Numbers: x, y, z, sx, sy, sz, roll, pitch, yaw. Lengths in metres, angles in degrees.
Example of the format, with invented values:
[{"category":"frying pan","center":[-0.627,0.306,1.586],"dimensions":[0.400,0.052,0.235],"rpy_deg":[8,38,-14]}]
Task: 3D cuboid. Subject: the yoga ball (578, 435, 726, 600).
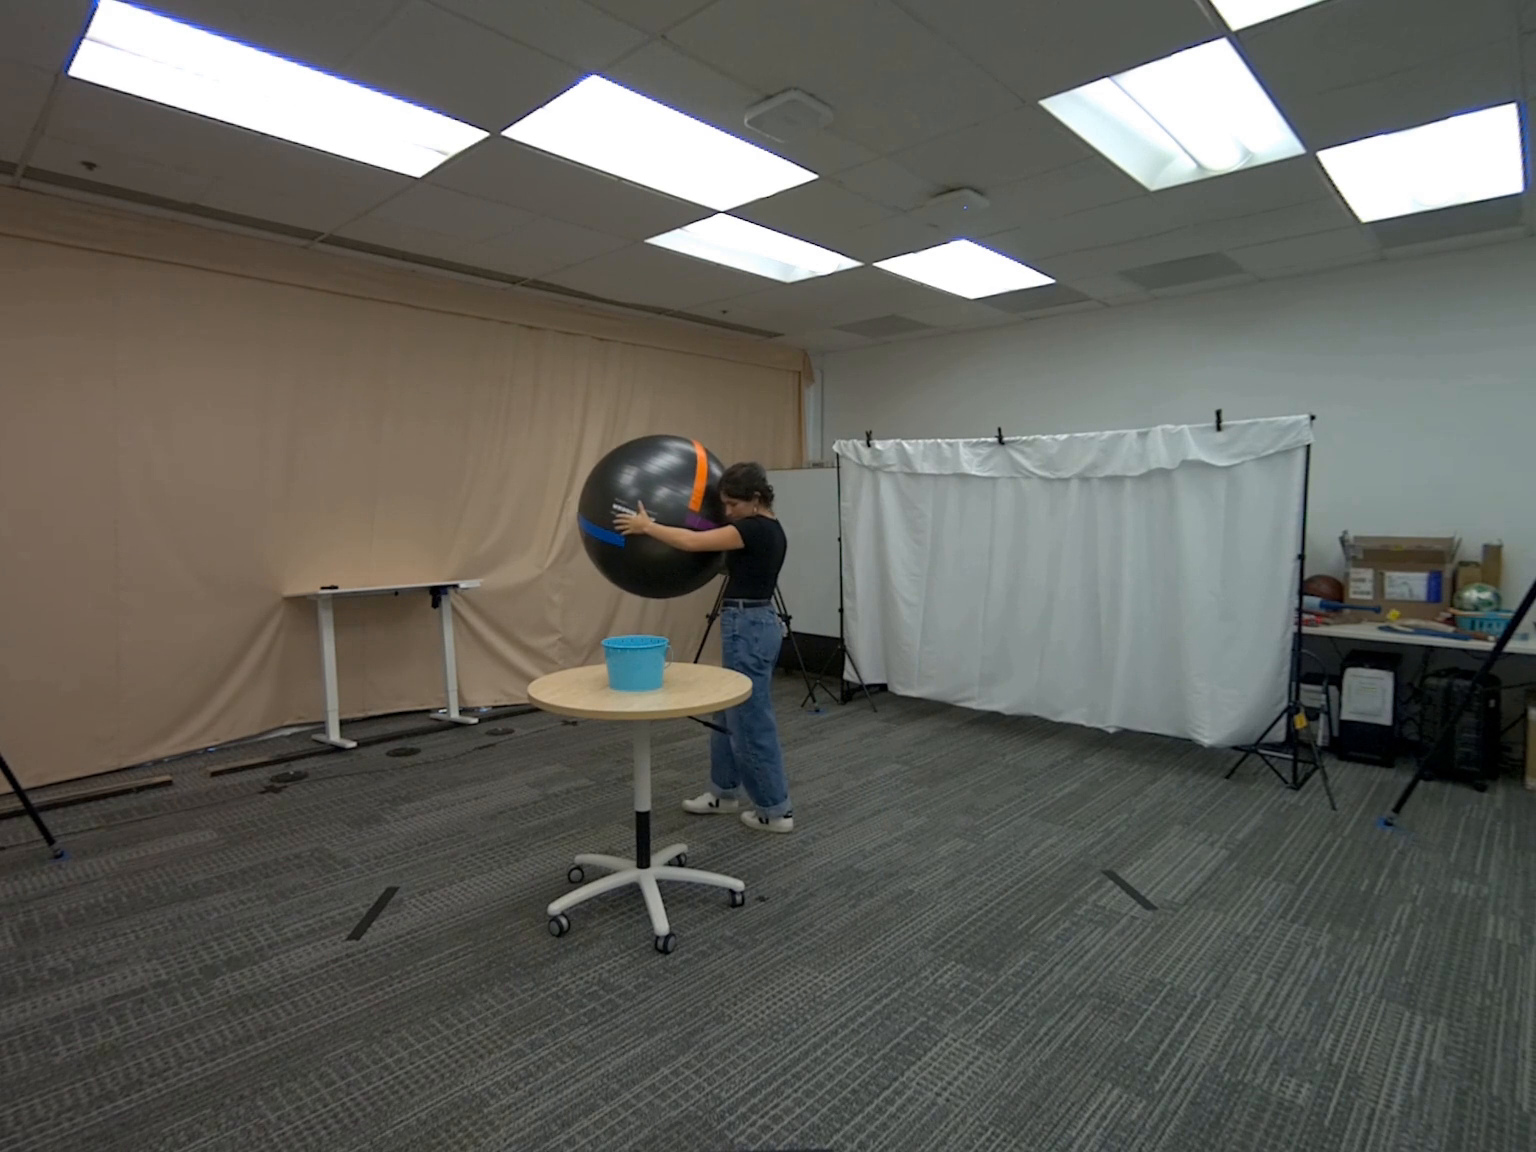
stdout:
[{"category":"yoga ball","center":[-0.509,-0.269,3.924],"dimensions":[0.757,0.756,0.760],"rpy_deg":[0,4,-2]}]
